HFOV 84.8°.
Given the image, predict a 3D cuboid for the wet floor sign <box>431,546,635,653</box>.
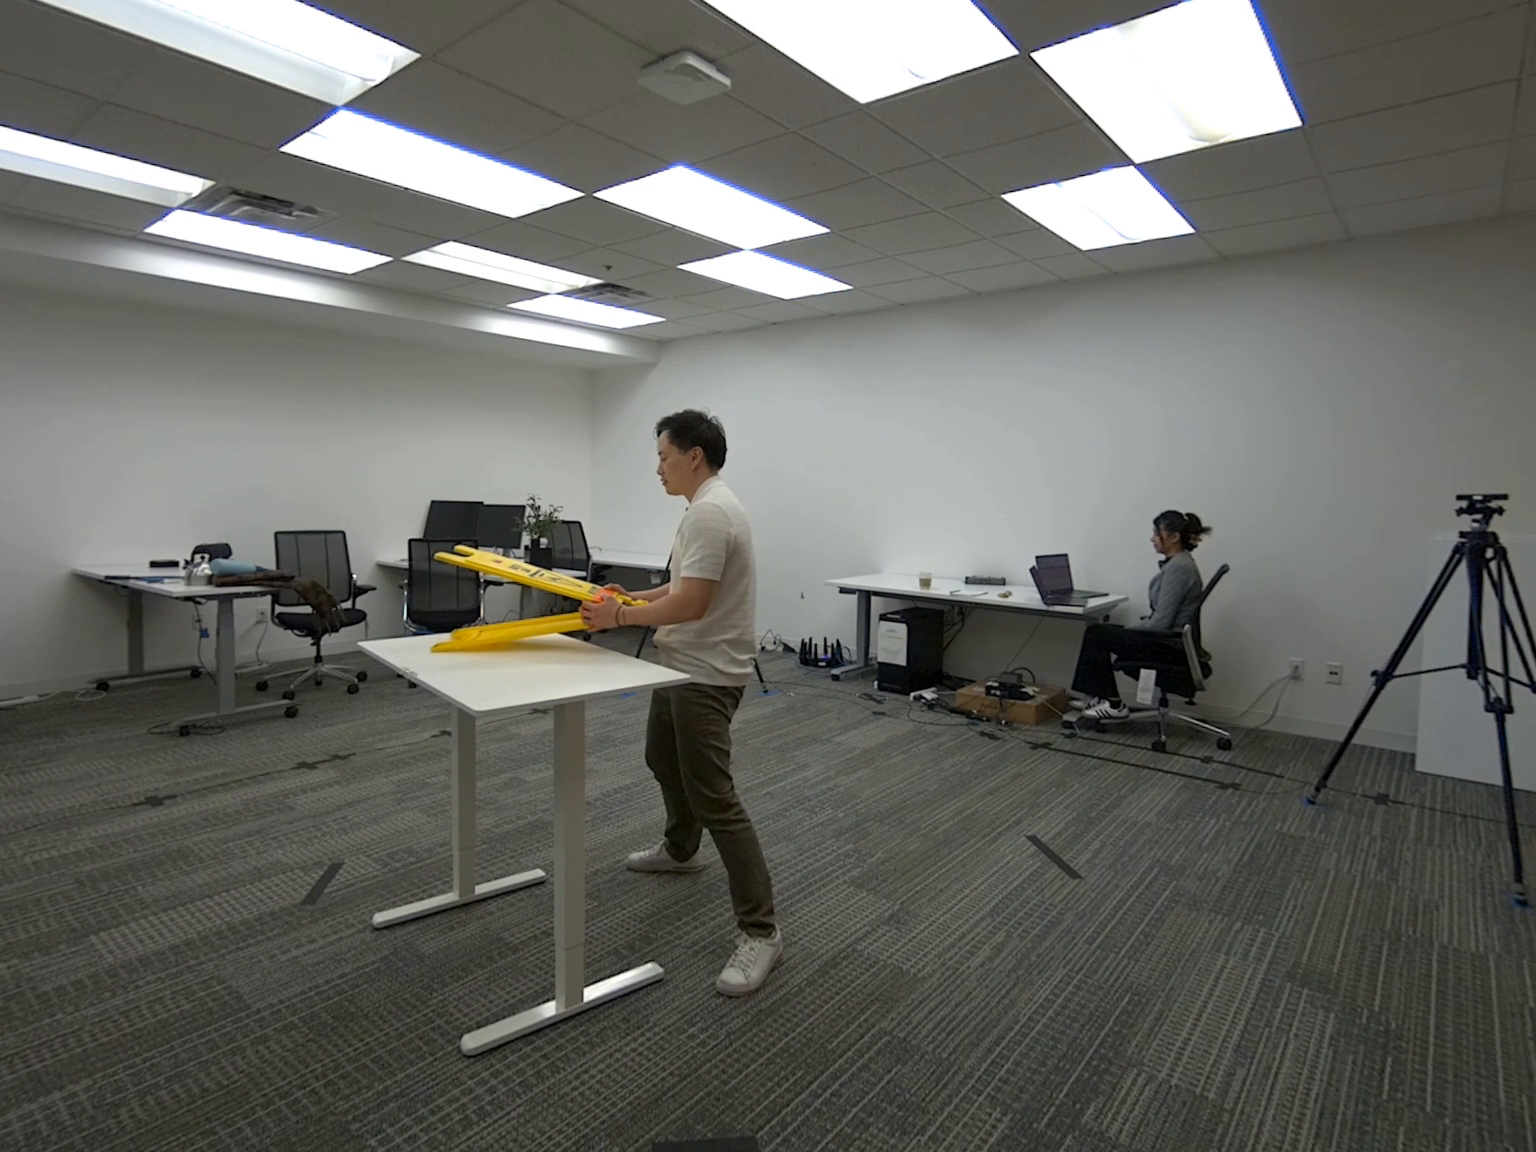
[{"bbox_3d":[-0.725,0.083,2.705,0.645,0.288,0.284,4,6,-1],"label":"wet floor sign"}]
